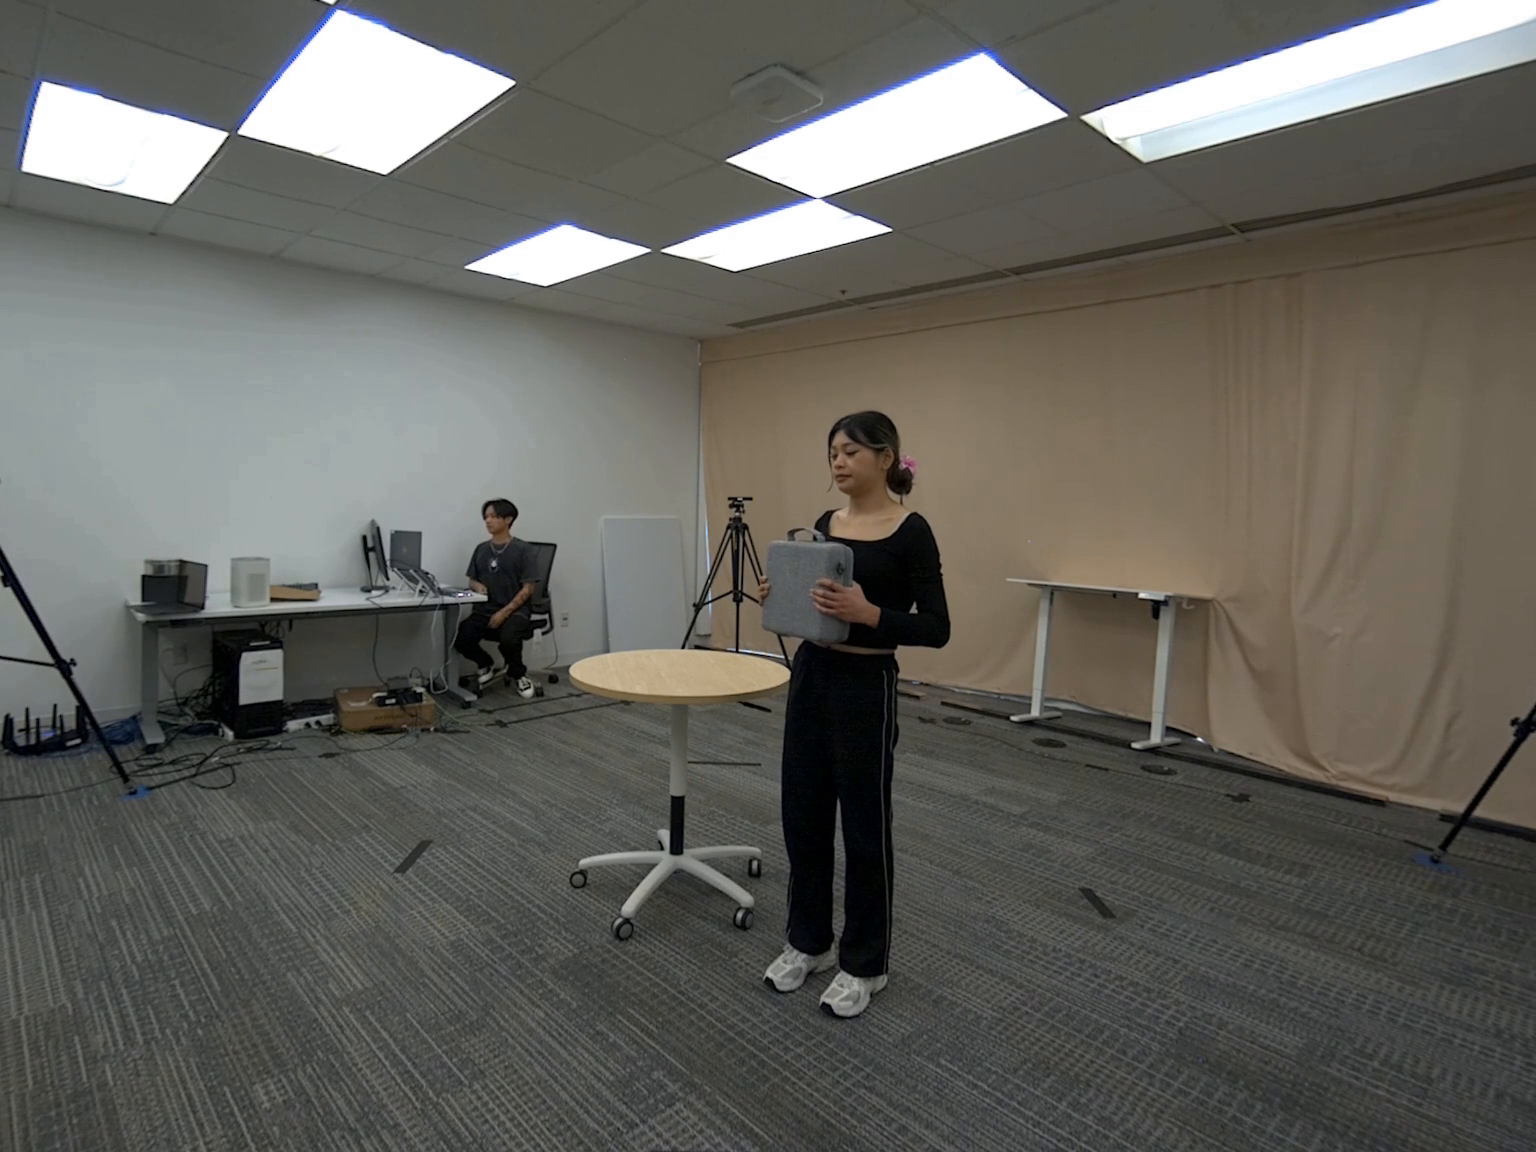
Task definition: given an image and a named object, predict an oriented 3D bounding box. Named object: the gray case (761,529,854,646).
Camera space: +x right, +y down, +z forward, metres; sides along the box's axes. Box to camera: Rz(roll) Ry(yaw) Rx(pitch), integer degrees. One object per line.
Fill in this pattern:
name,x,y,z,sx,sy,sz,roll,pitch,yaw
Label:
gray case,0.103,0.035,2.199,0.102,0.260,0.263,3,1,-39
